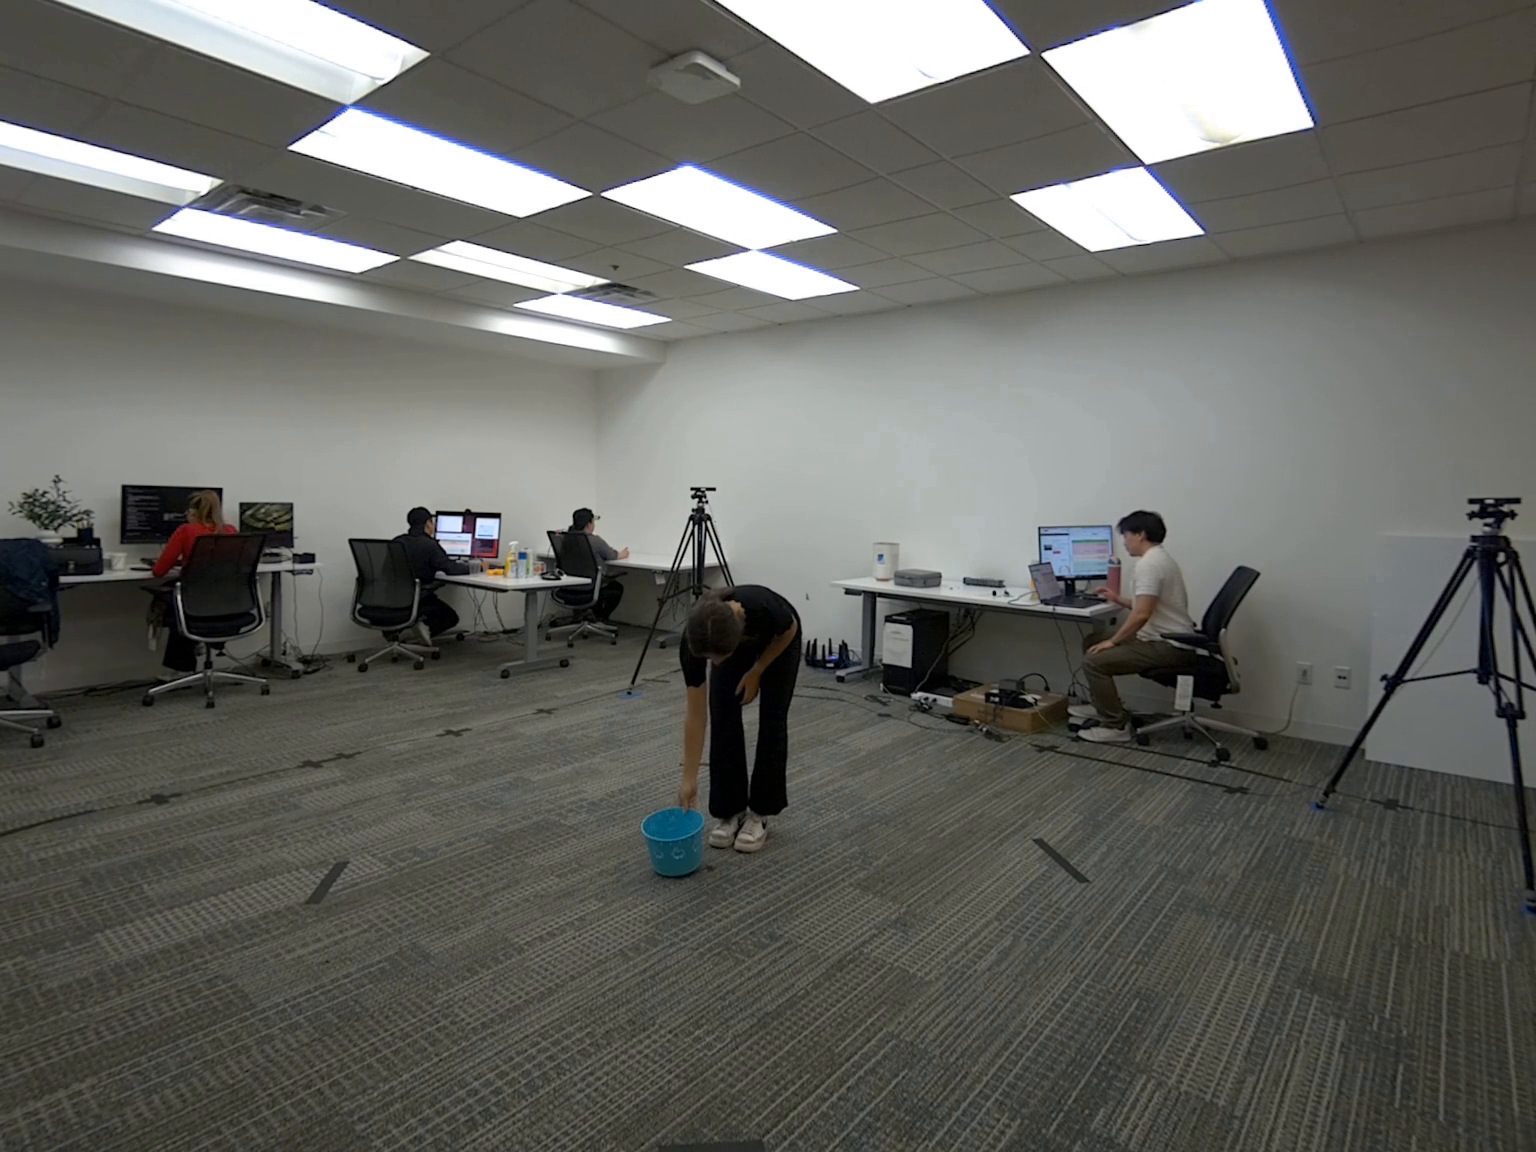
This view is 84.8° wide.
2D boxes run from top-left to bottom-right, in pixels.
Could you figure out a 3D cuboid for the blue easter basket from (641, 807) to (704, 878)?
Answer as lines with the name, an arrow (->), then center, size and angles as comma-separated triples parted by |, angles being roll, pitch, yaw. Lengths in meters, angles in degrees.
blue easter basket -> -0.348, 0.956, 3.089 | 0.243, 0.154, 0.246 | -5, 11, -1
